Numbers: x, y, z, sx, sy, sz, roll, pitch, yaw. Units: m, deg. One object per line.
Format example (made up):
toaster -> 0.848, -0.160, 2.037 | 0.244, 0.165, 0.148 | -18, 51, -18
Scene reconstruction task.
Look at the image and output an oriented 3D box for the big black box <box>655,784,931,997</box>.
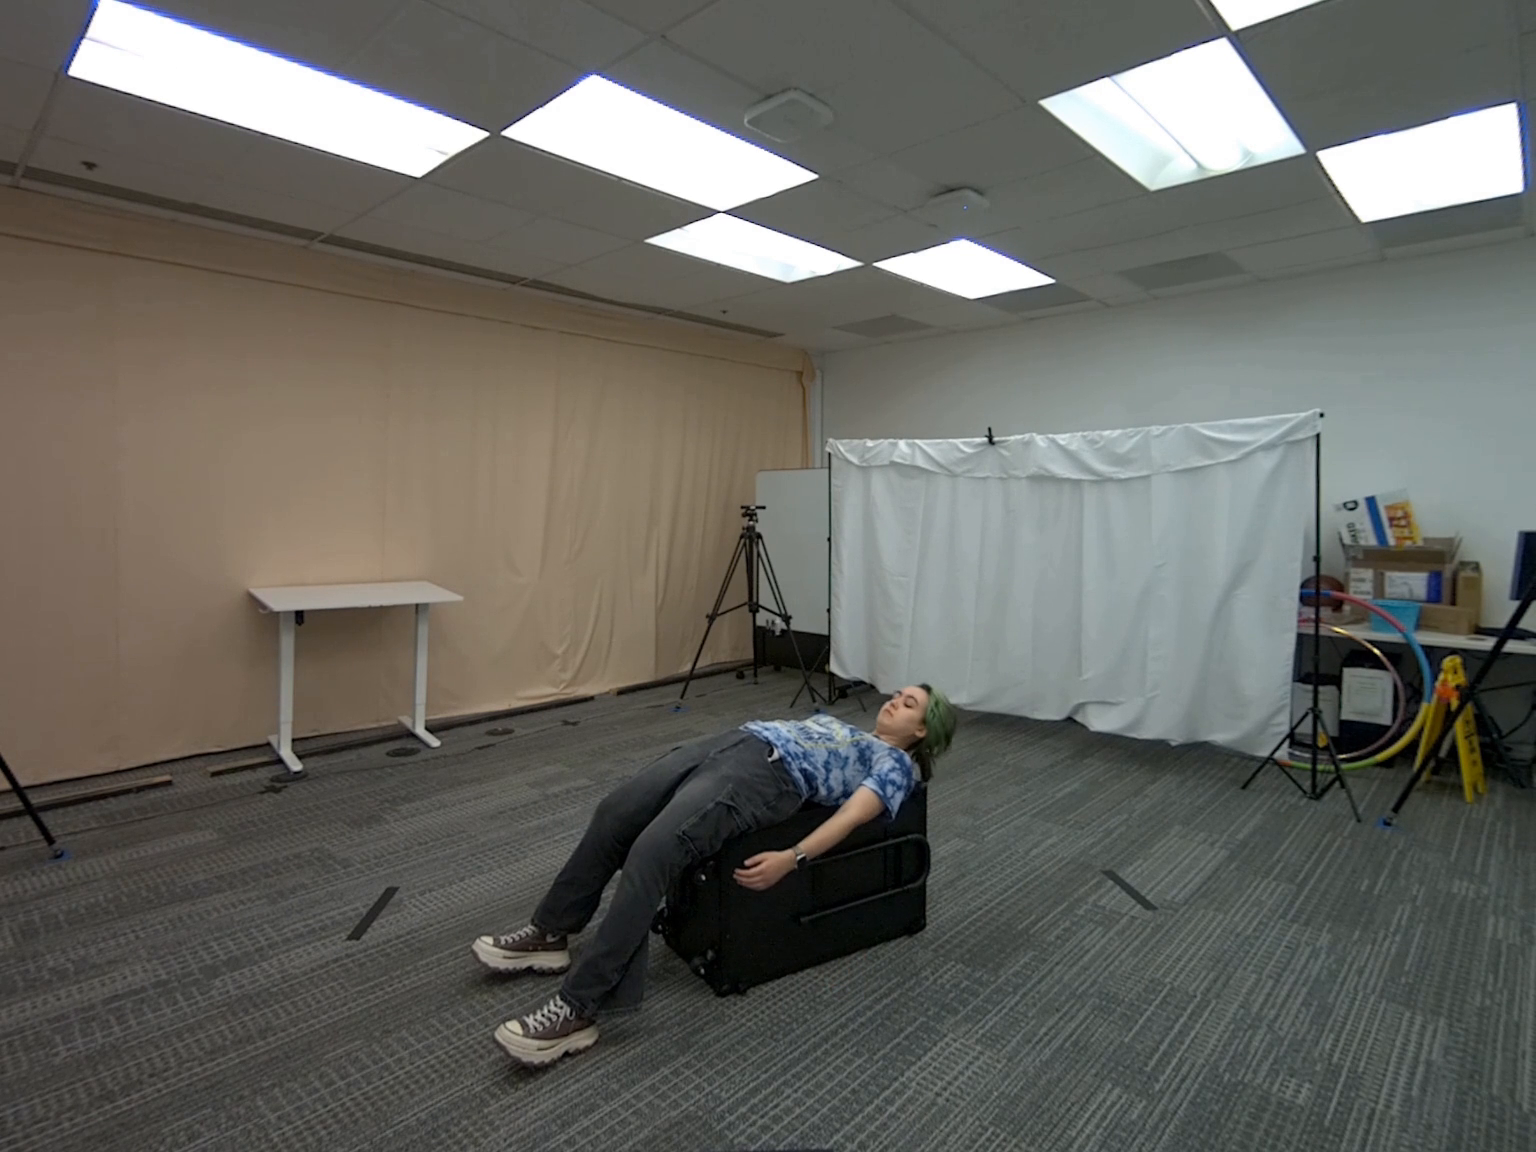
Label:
big black box -> 0.080, 0.928, 2.687 | 0.839, 0.520, 0.408 | -4, 4, -30
